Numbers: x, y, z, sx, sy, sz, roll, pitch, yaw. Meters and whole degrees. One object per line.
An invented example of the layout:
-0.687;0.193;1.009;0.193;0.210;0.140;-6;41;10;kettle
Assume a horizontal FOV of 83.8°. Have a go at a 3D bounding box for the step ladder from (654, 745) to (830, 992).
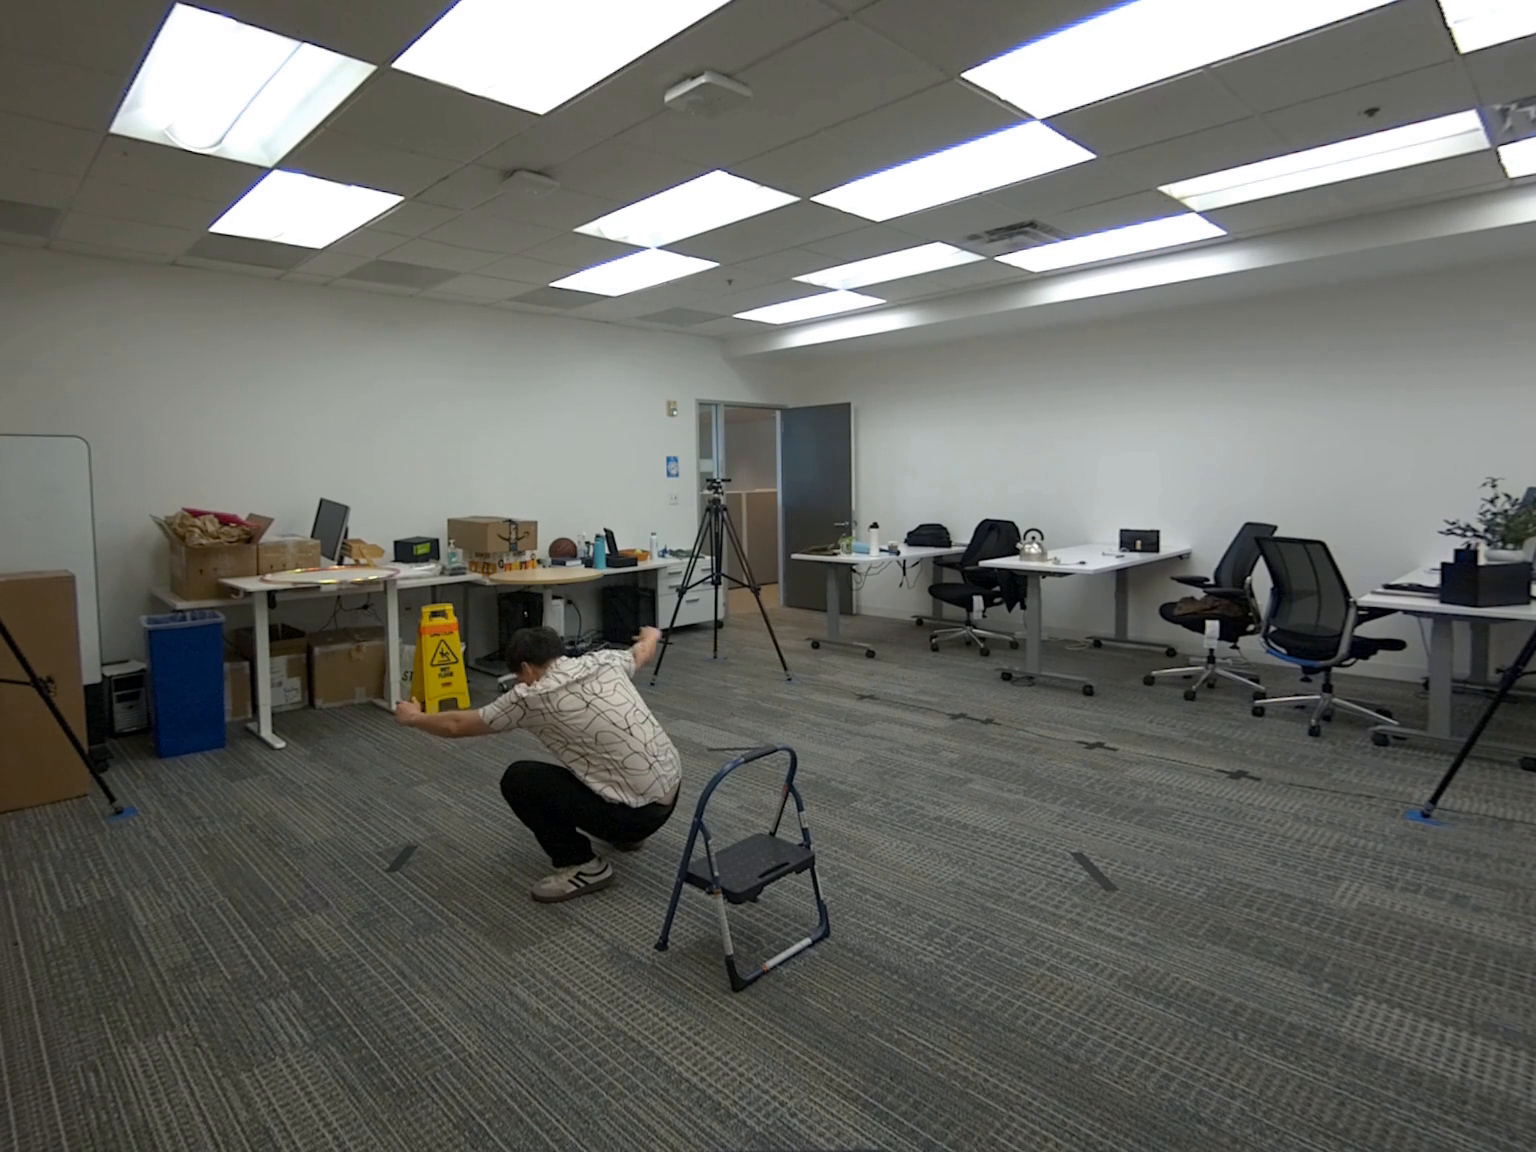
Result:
-0.074;0.803;2.567;0.360;0.604;0.419;3;6;43;step ladder
